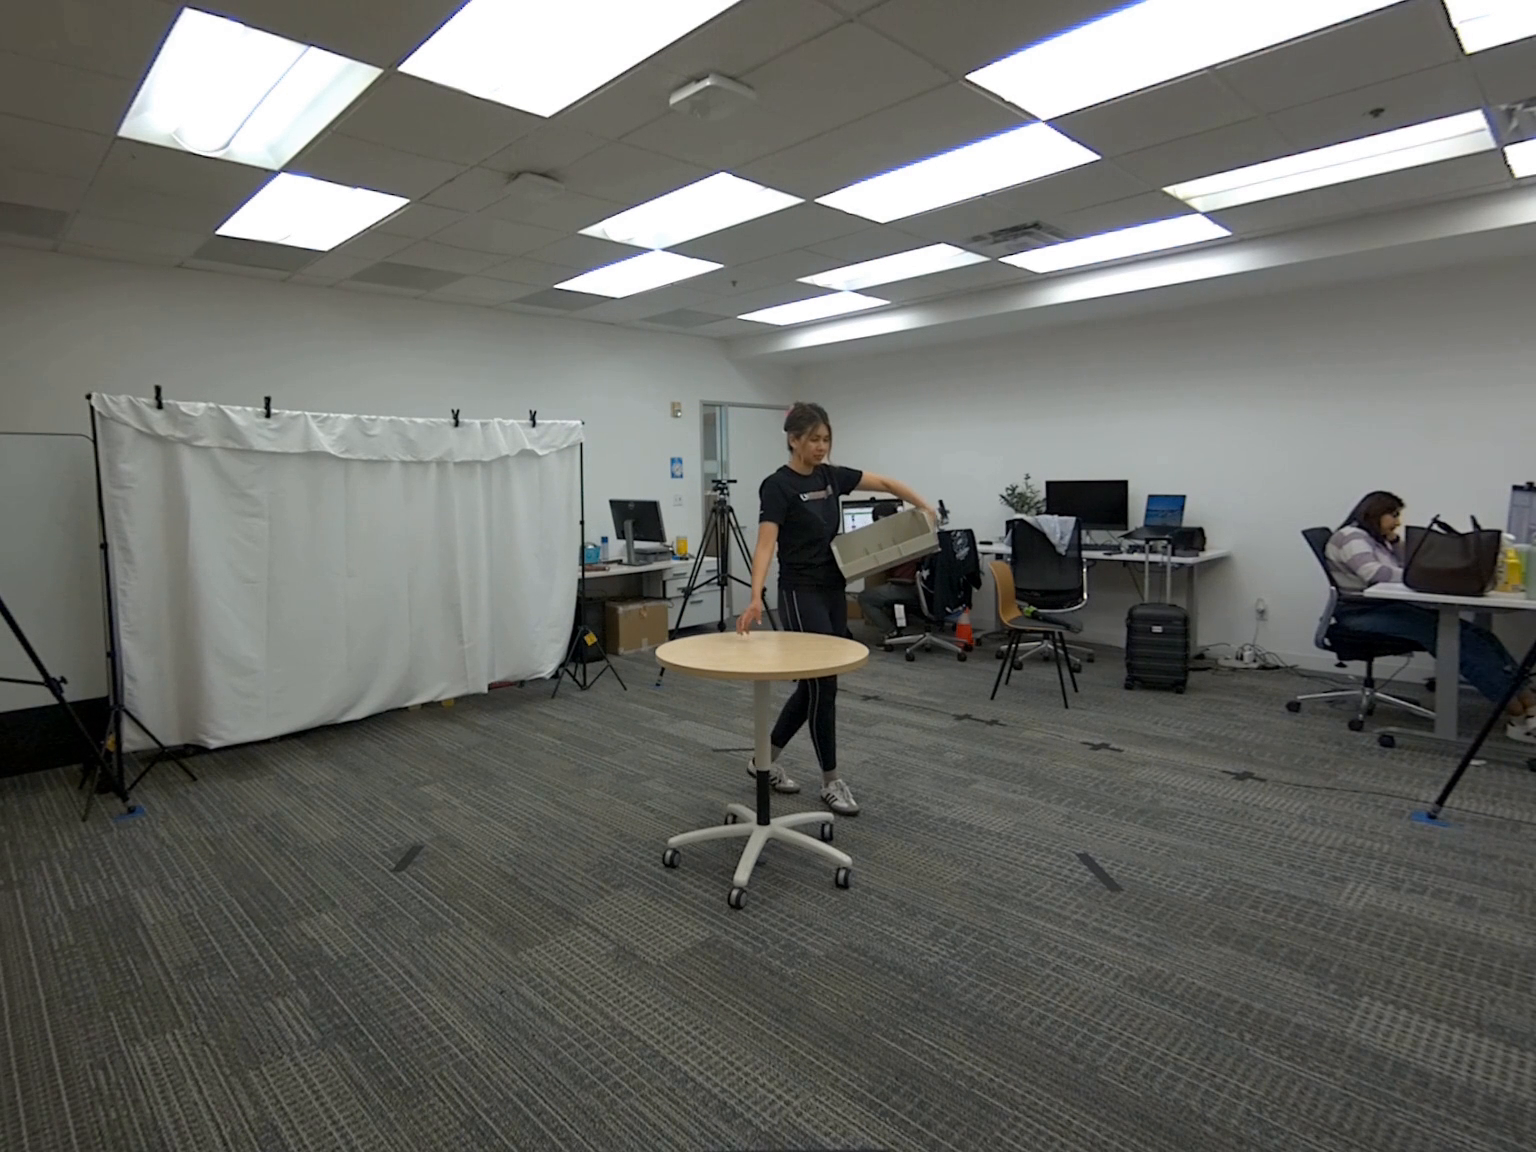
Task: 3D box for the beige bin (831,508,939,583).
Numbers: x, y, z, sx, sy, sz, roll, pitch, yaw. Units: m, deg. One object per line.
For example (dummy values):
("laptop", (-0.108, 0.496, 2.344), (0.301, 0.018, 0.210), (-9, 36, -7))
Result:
("beige bin", (0.490, -0.127, 3.664), (0.424, 0.188, 0.377), (-21, 5, 7))
